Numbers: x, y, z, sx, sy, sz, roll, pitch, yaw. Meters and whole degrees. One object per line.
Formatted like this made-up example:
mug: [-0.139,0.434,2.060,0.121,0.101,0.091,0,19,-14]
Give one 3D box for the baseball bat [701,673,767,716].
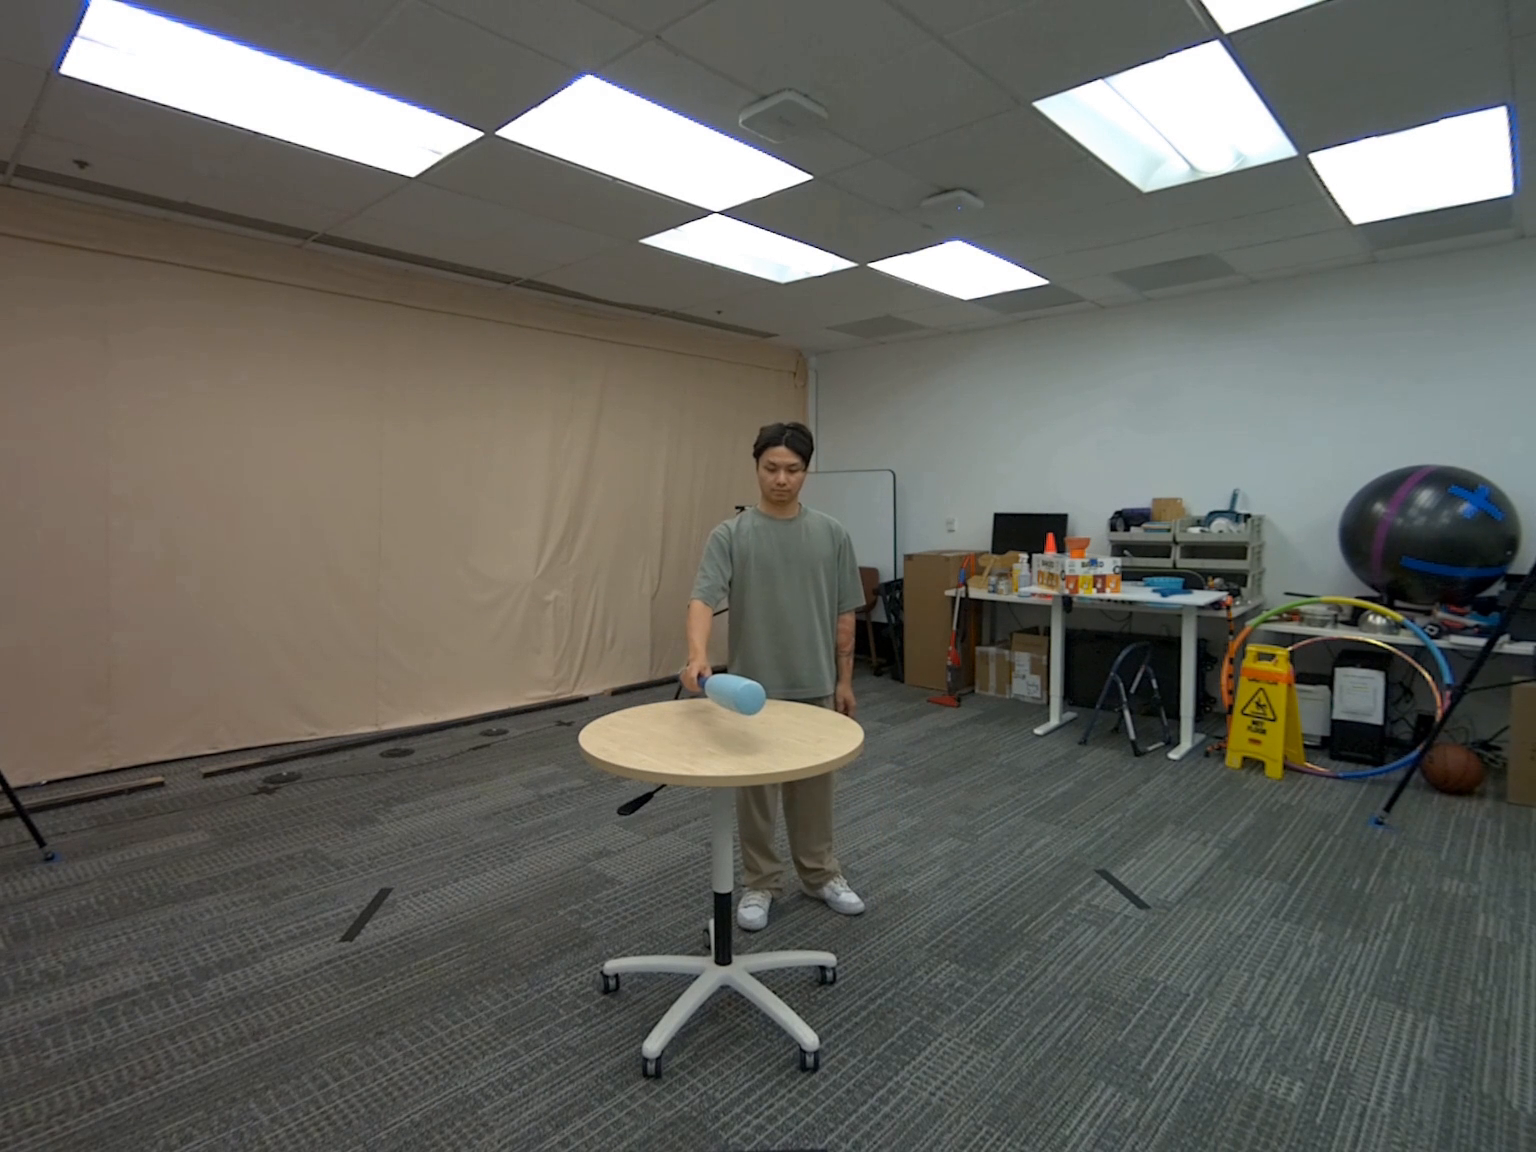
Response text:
baseball bat: [-0.144,0.302,2.275,0.087,0.089,0.552,-1,-2,-19]
